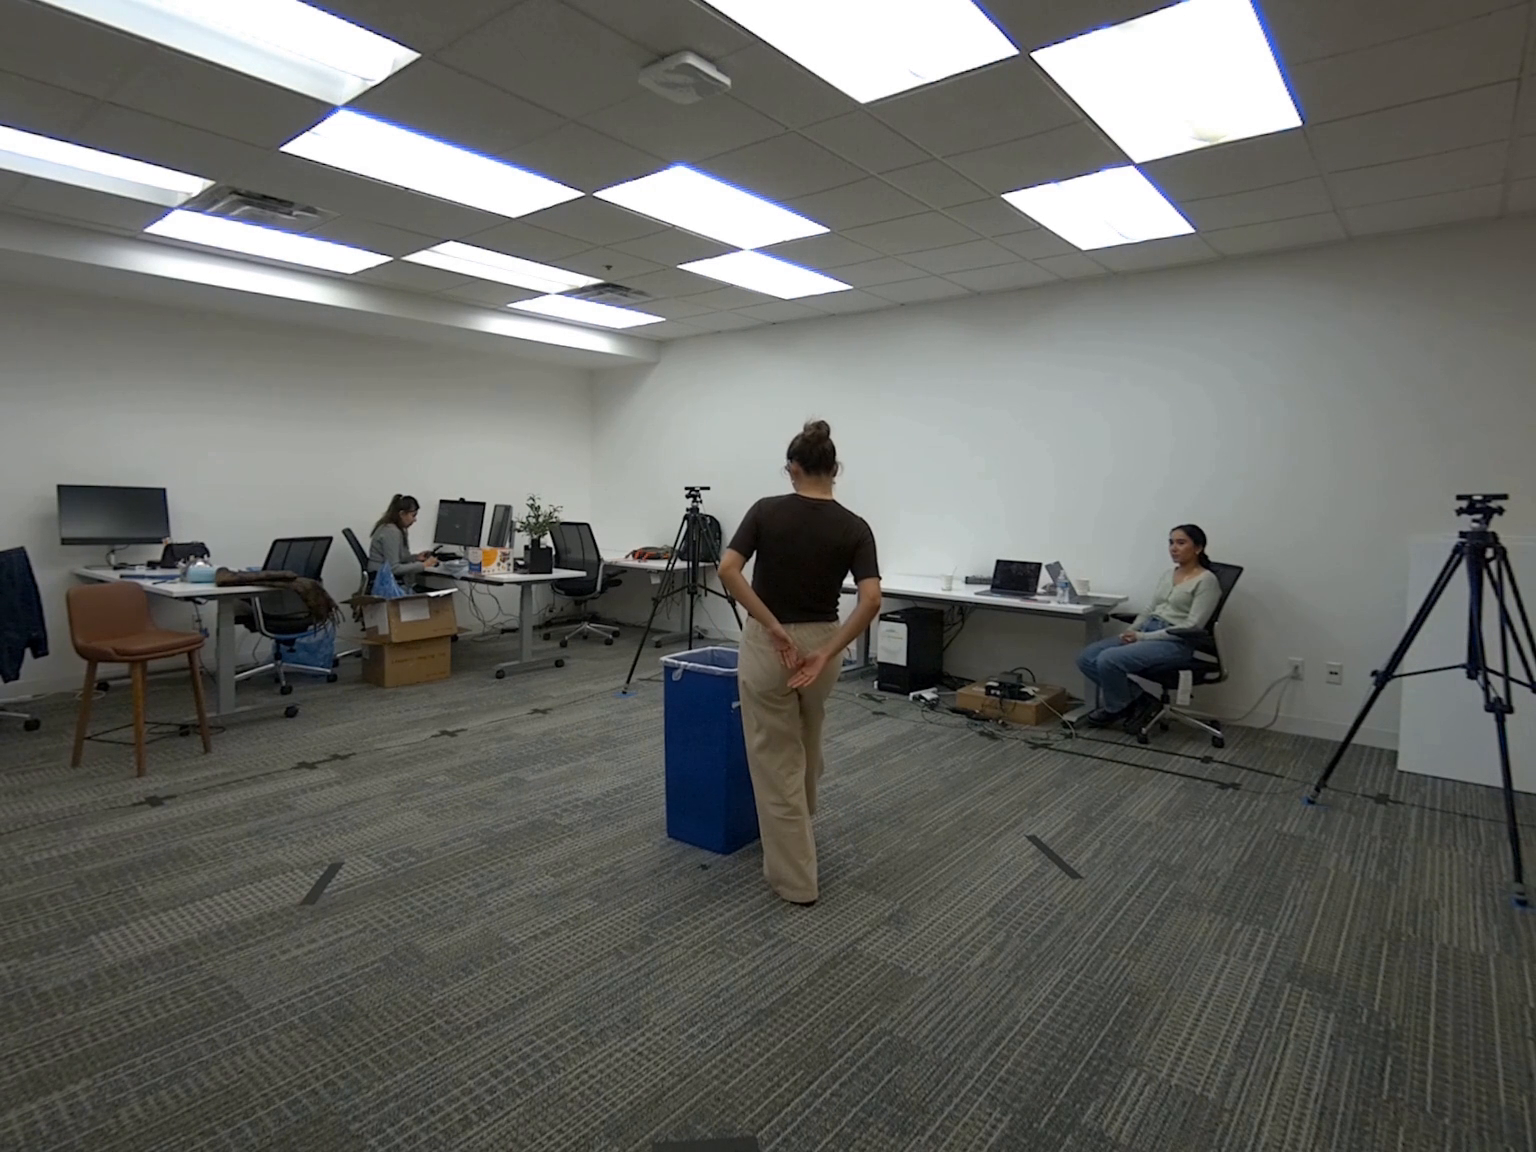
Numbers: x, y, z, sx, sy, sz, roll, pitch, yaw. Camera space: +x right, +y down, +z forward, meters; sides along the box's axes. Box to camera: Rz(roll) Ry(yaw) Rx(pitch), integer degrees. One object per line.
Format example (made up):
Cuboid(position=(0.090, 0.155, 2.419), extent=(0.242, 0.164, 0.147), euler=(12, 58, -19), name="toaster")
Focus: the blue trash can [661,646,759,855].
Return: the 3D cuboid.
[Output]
Cuboid(position=(-0.200, 0.676, 3.405), extent=(0.386, 0.712, 0.367), euler=(3, 3, 34), name="blue trash can")
